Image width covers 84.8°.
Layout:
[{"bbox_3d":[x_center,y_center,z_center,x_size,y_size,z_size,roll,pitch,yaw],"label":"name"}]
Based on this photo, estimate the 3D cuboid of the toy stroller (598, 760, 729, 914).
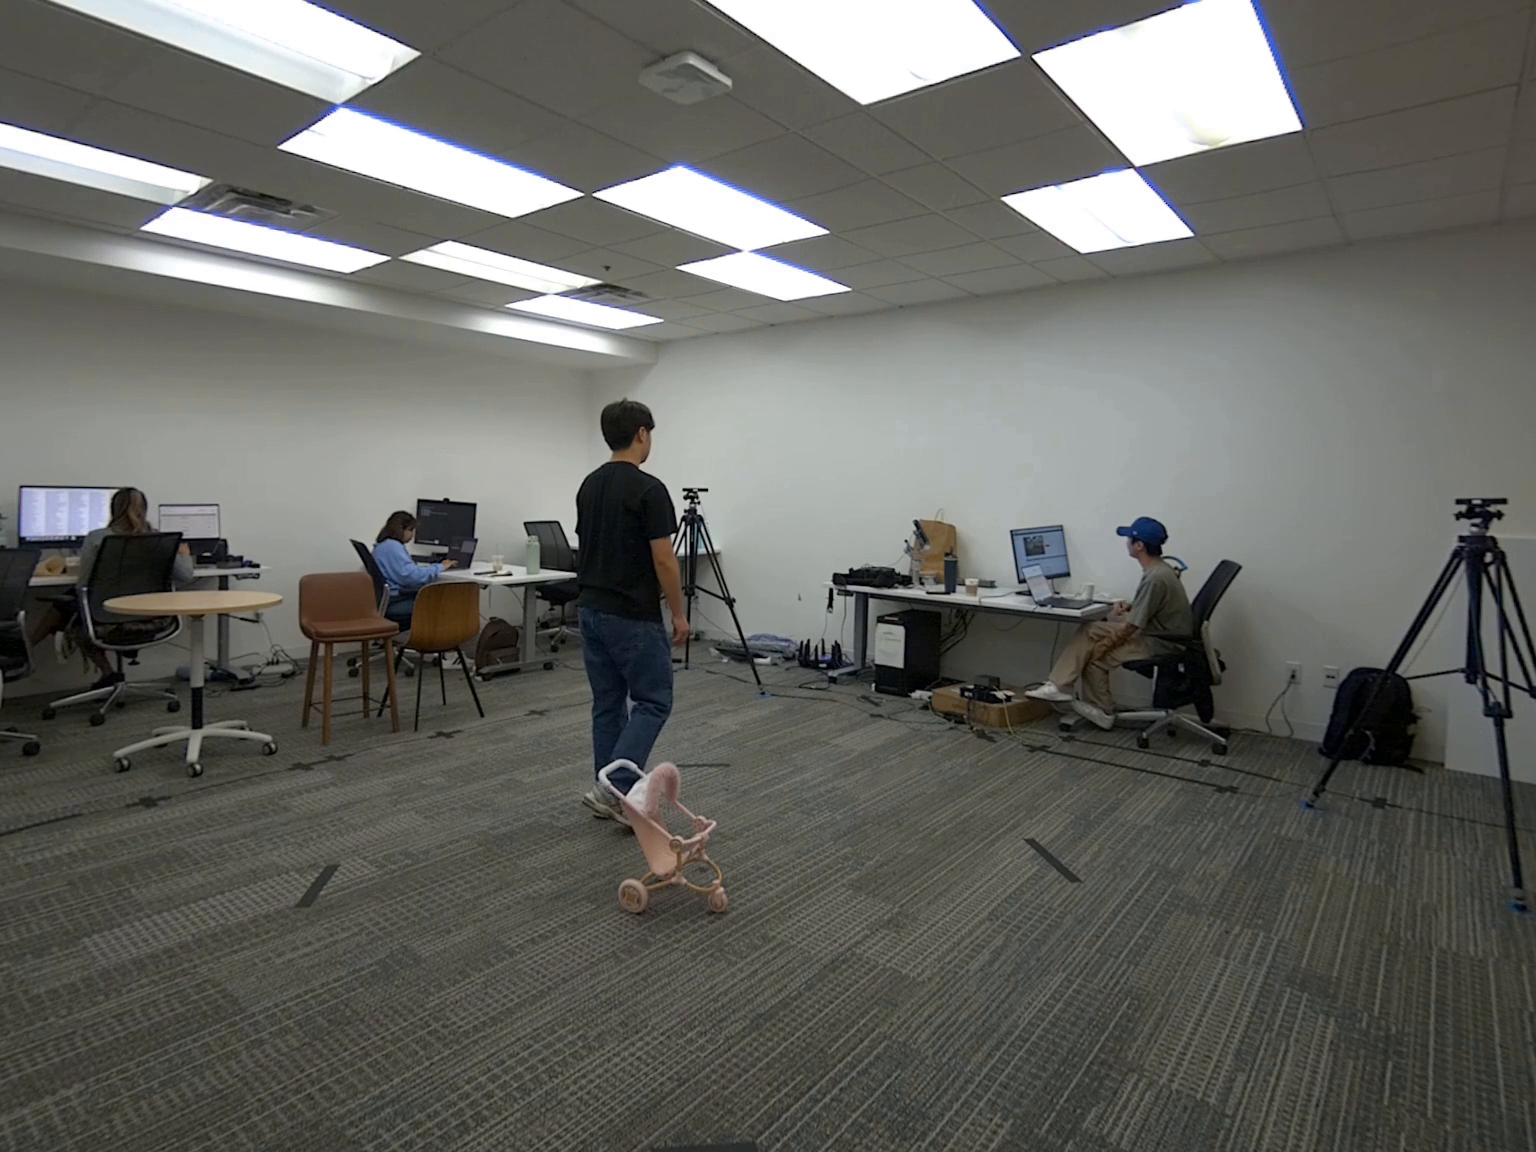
[{"bbox_3d":[-0.343,0.864,2.859,0.347,0.538,0.275,-15,-4,26],"label":"toy stroller"}]
